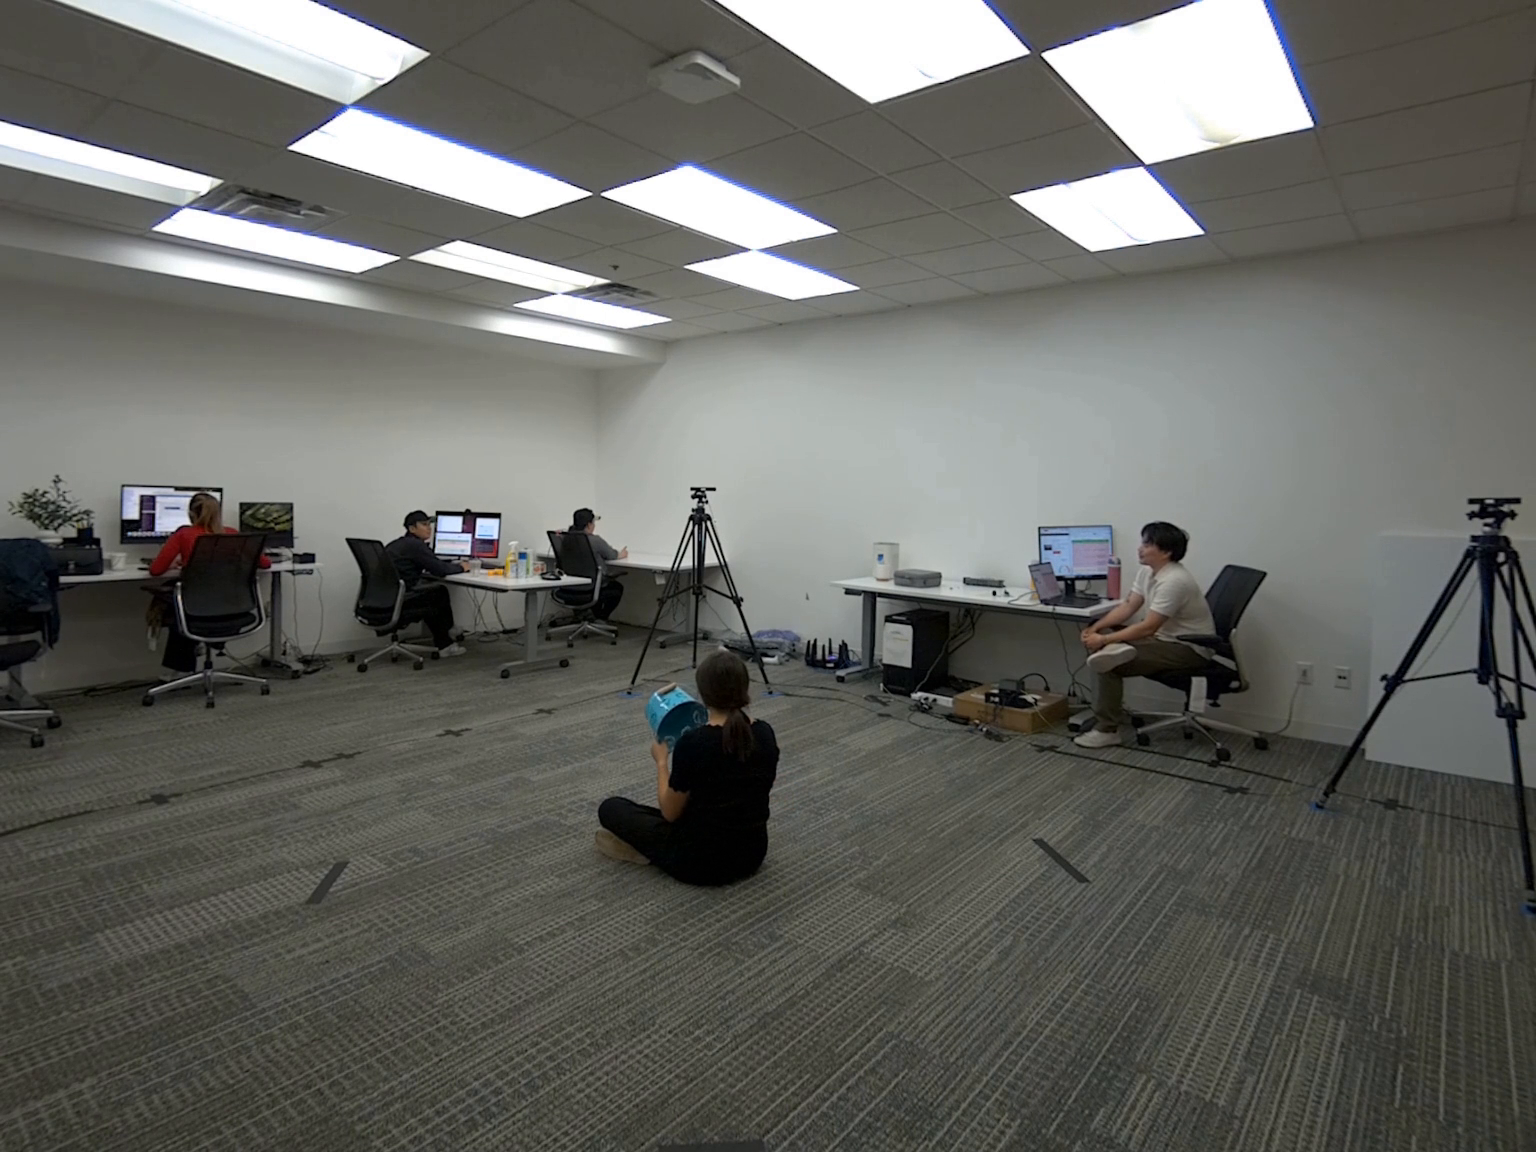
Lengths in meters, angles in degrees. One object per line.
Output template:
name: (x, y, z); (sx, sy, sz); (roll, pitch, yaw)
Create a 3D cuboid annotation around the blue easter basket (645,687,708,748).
blue easter basket: (-0.379, 0.540, 3.355); (0.236, 0.240, 0.162); (-2, 25, -35)
